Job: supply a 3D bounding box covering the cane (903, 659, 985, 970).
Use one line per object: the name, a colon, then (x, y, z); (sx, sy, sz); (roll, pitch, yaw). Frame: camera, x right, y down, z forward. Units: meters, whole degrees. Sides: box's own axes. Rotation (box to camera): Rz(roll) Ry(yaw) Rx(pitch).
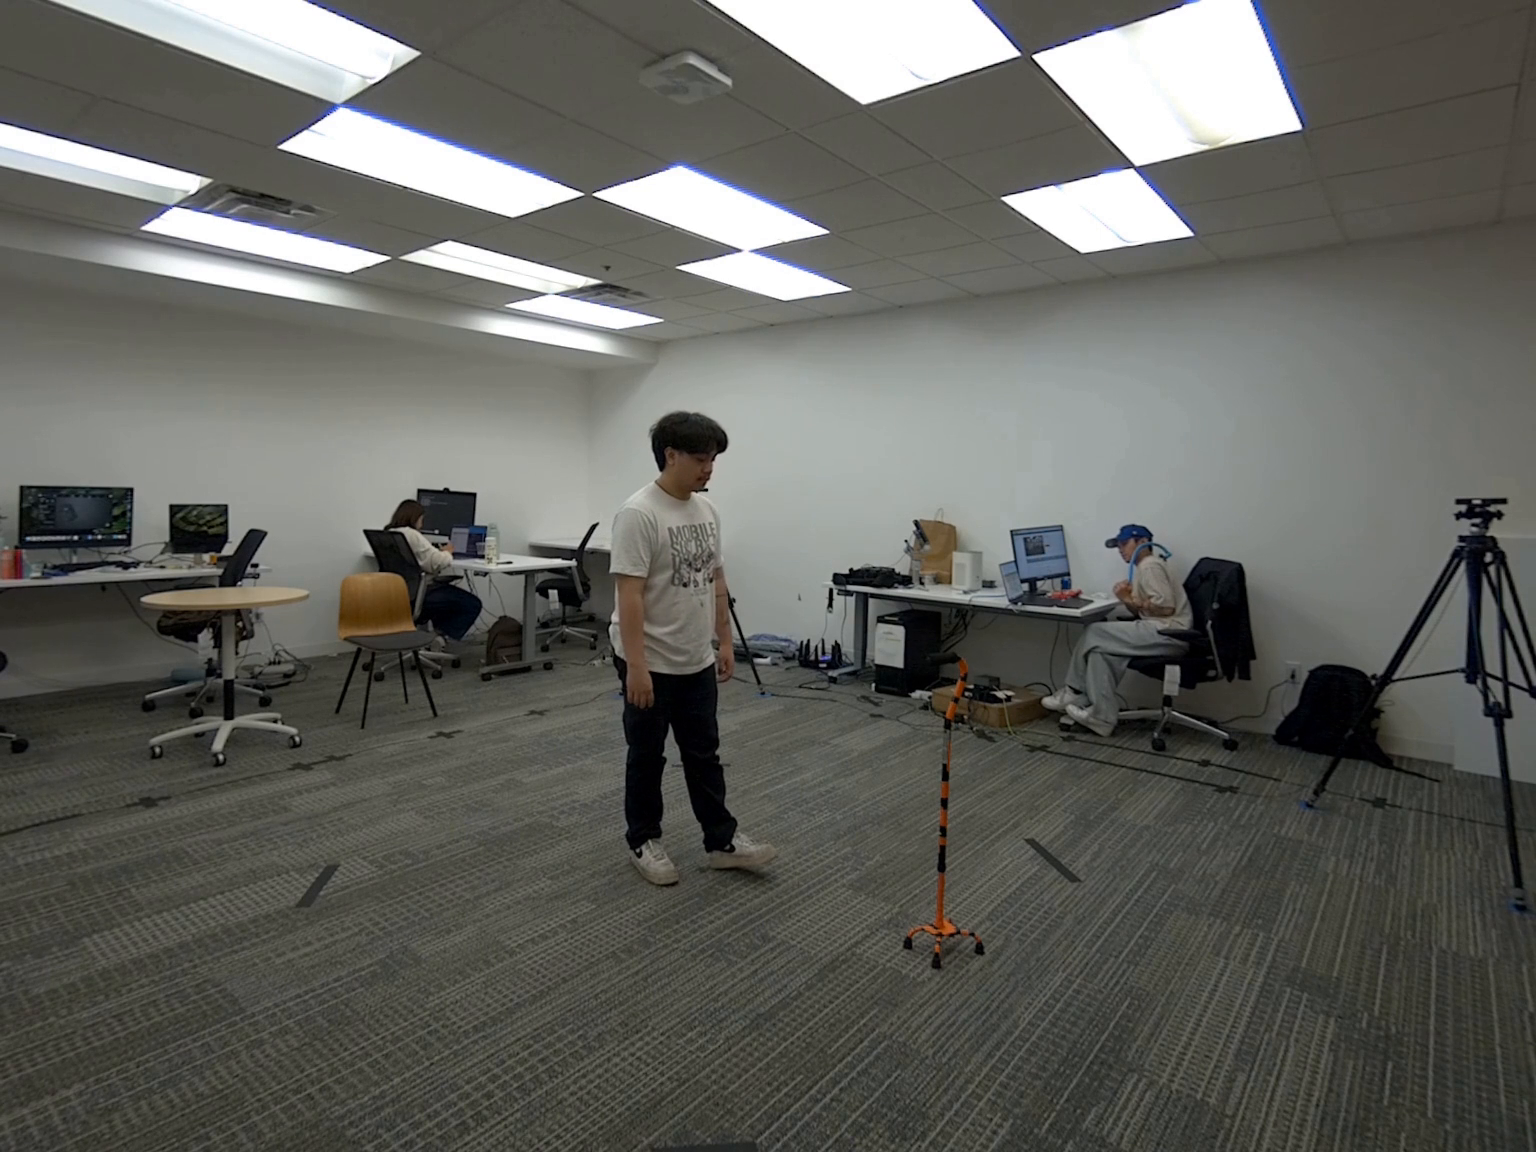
cane: (0.539, 0.688, 2.577); (0.201, 0.906, 0.156); (0, 3, -31)
